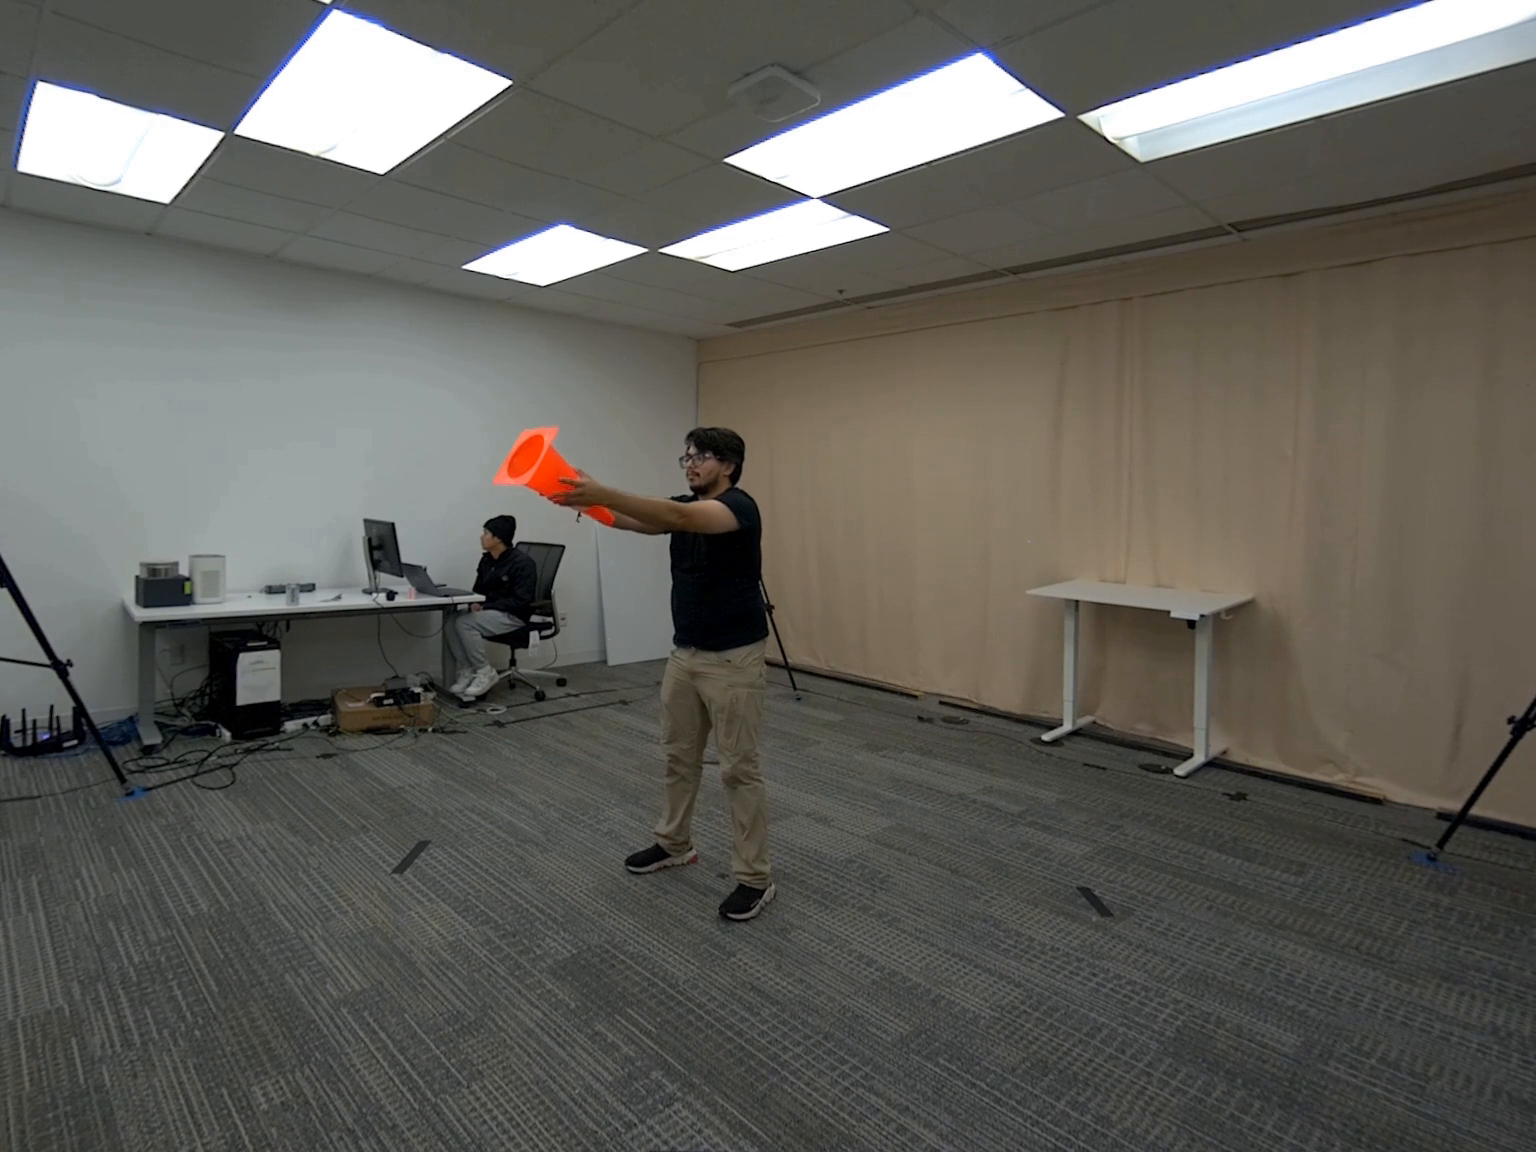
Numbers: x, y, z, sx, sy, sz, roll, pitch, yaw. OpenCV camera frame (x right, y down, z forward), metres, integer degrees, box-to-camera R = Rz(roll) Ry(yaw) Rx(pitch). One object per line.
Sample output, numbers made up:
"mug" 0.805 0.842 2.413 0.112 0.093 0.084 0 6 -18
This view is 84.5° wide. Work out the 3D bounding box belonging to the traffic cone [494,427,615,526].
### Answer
"traffic cone" -0.623 -0.251 2.594 0.210 0.205 0.371 3 -27 42
